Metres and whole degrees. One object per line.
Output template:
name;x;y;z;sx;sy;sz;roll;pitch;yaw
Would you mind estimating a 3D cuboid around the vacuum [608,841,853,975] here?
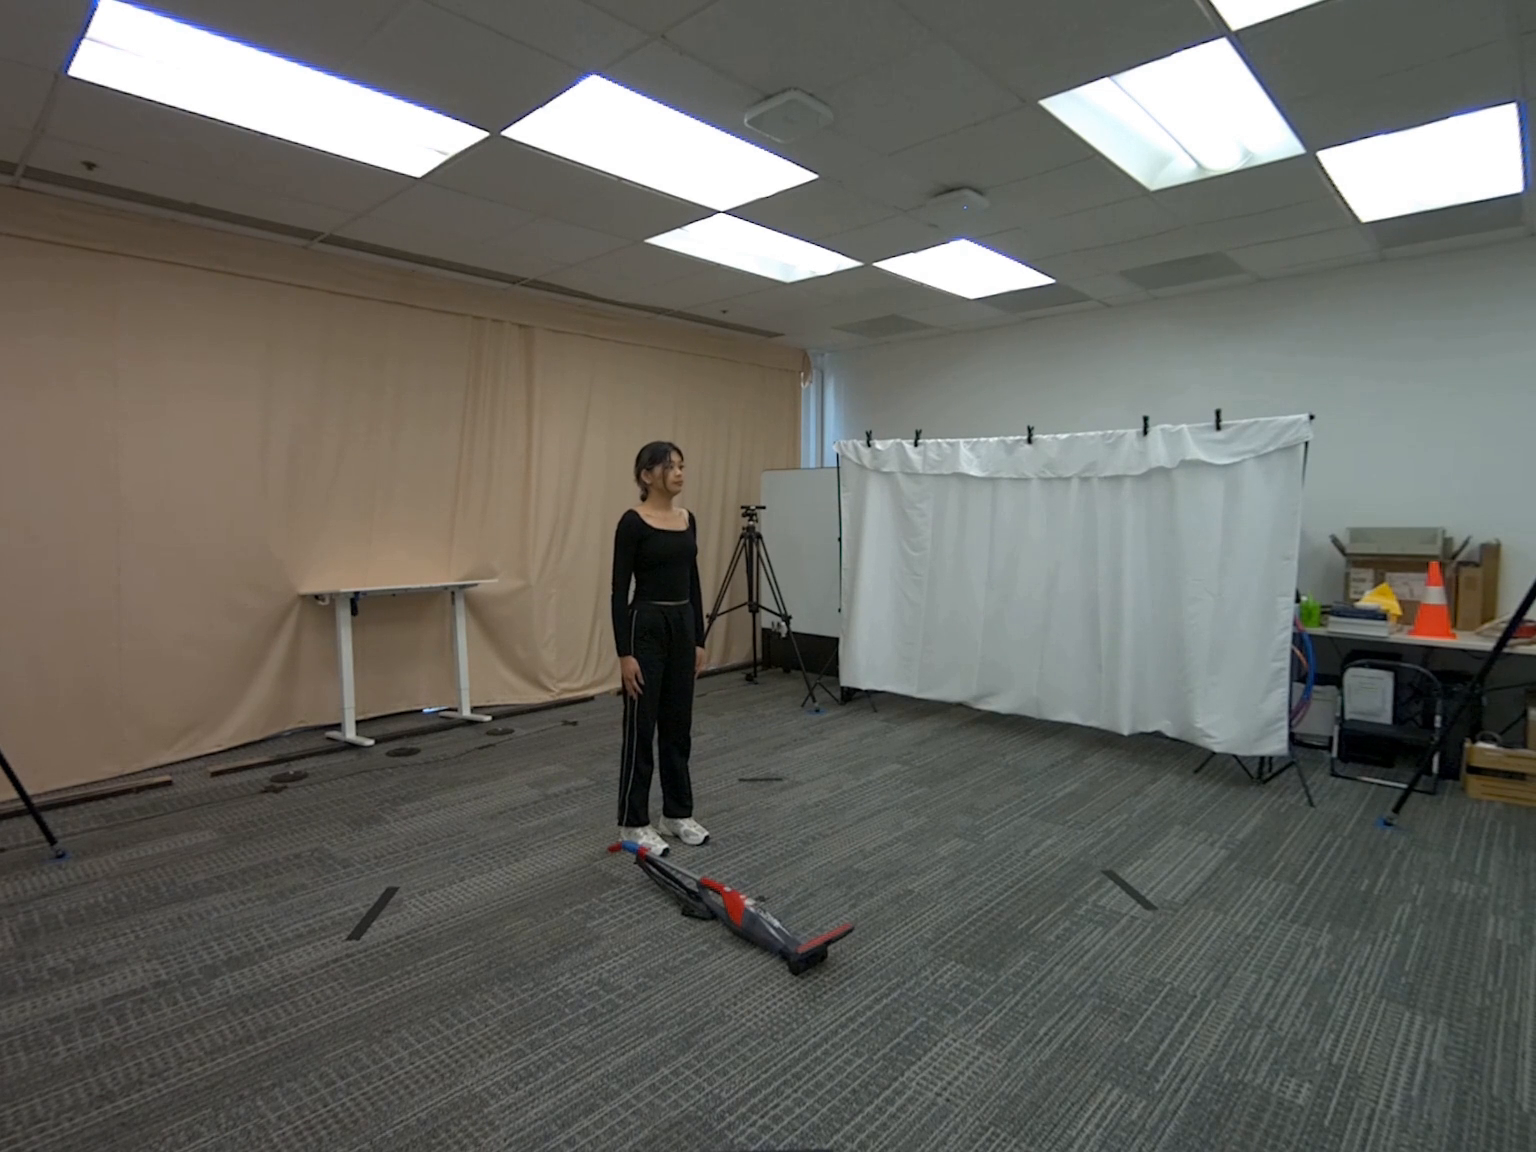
vacuum;-0.216;1.099;2.881;0.245;0.143;1.084;-5;6;-43
